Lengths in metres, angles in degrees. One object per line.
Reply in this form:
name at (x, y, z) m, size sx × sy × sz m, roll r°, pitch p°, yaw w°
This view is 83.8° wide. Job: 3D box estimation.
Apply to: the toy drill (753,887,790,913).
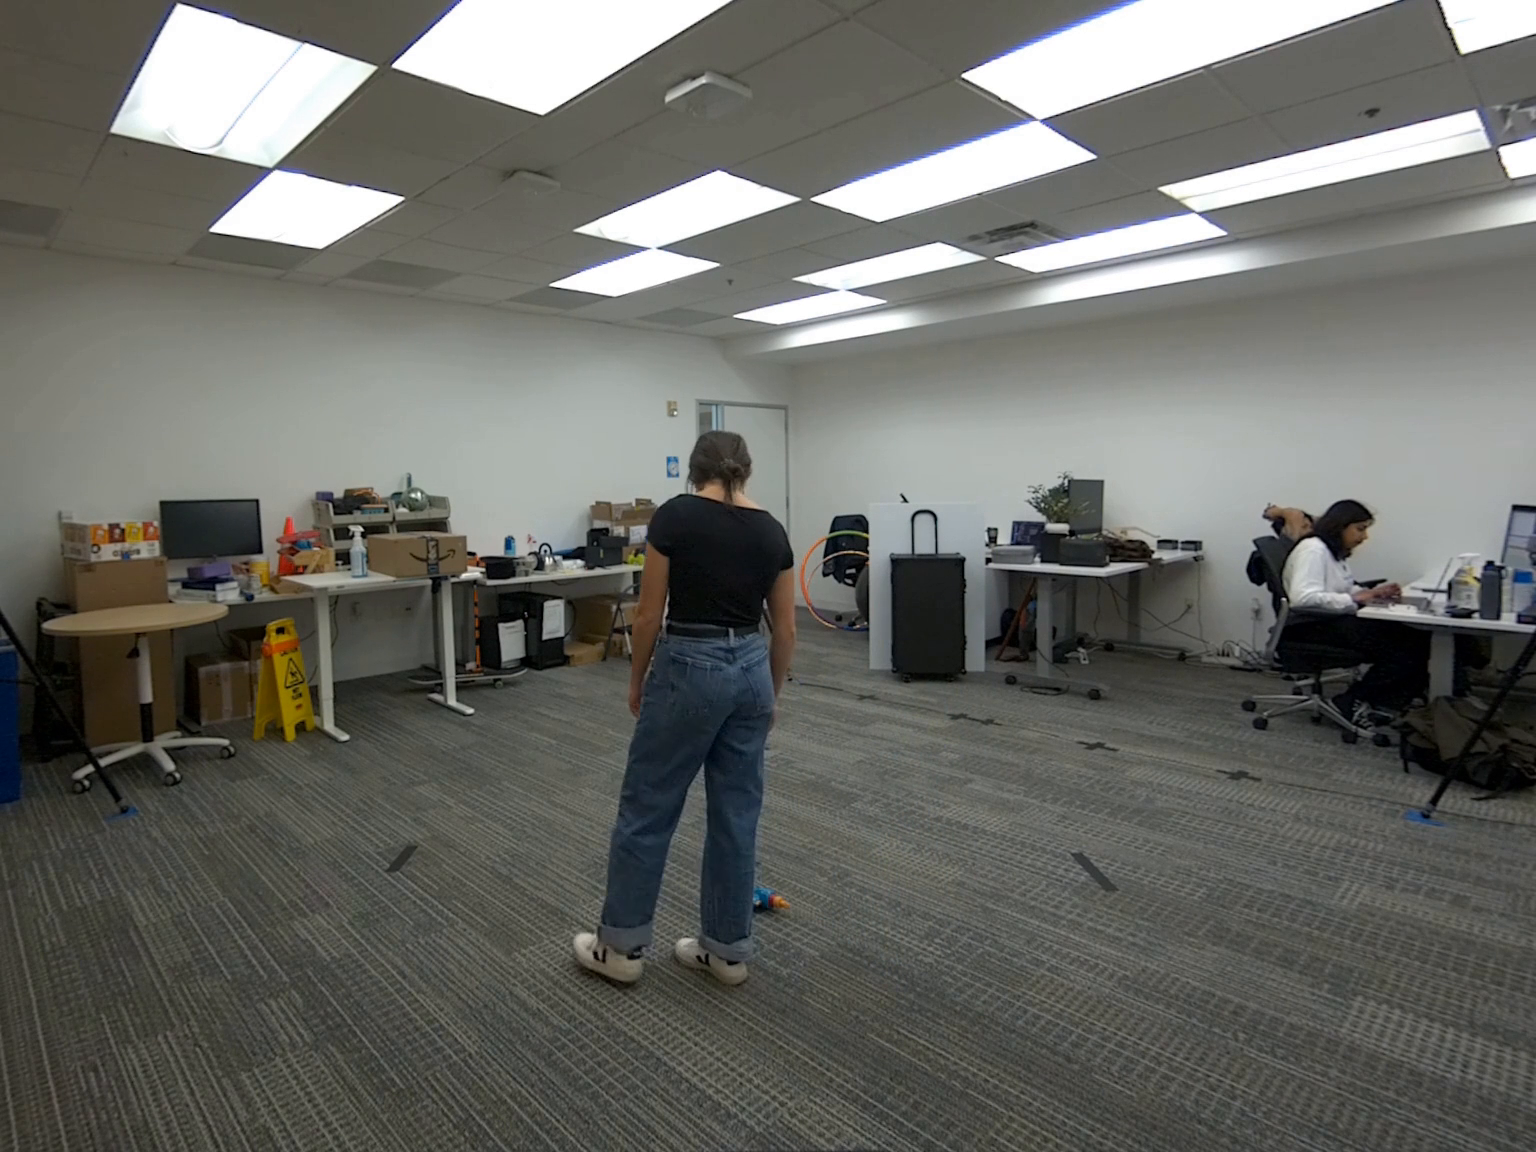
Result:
toy drill at (-0.014, 1.061, 2.750) m, size 0.174 × 0.061 × 0.142 m, roll -2°, pitch 6°, yaw 42°
